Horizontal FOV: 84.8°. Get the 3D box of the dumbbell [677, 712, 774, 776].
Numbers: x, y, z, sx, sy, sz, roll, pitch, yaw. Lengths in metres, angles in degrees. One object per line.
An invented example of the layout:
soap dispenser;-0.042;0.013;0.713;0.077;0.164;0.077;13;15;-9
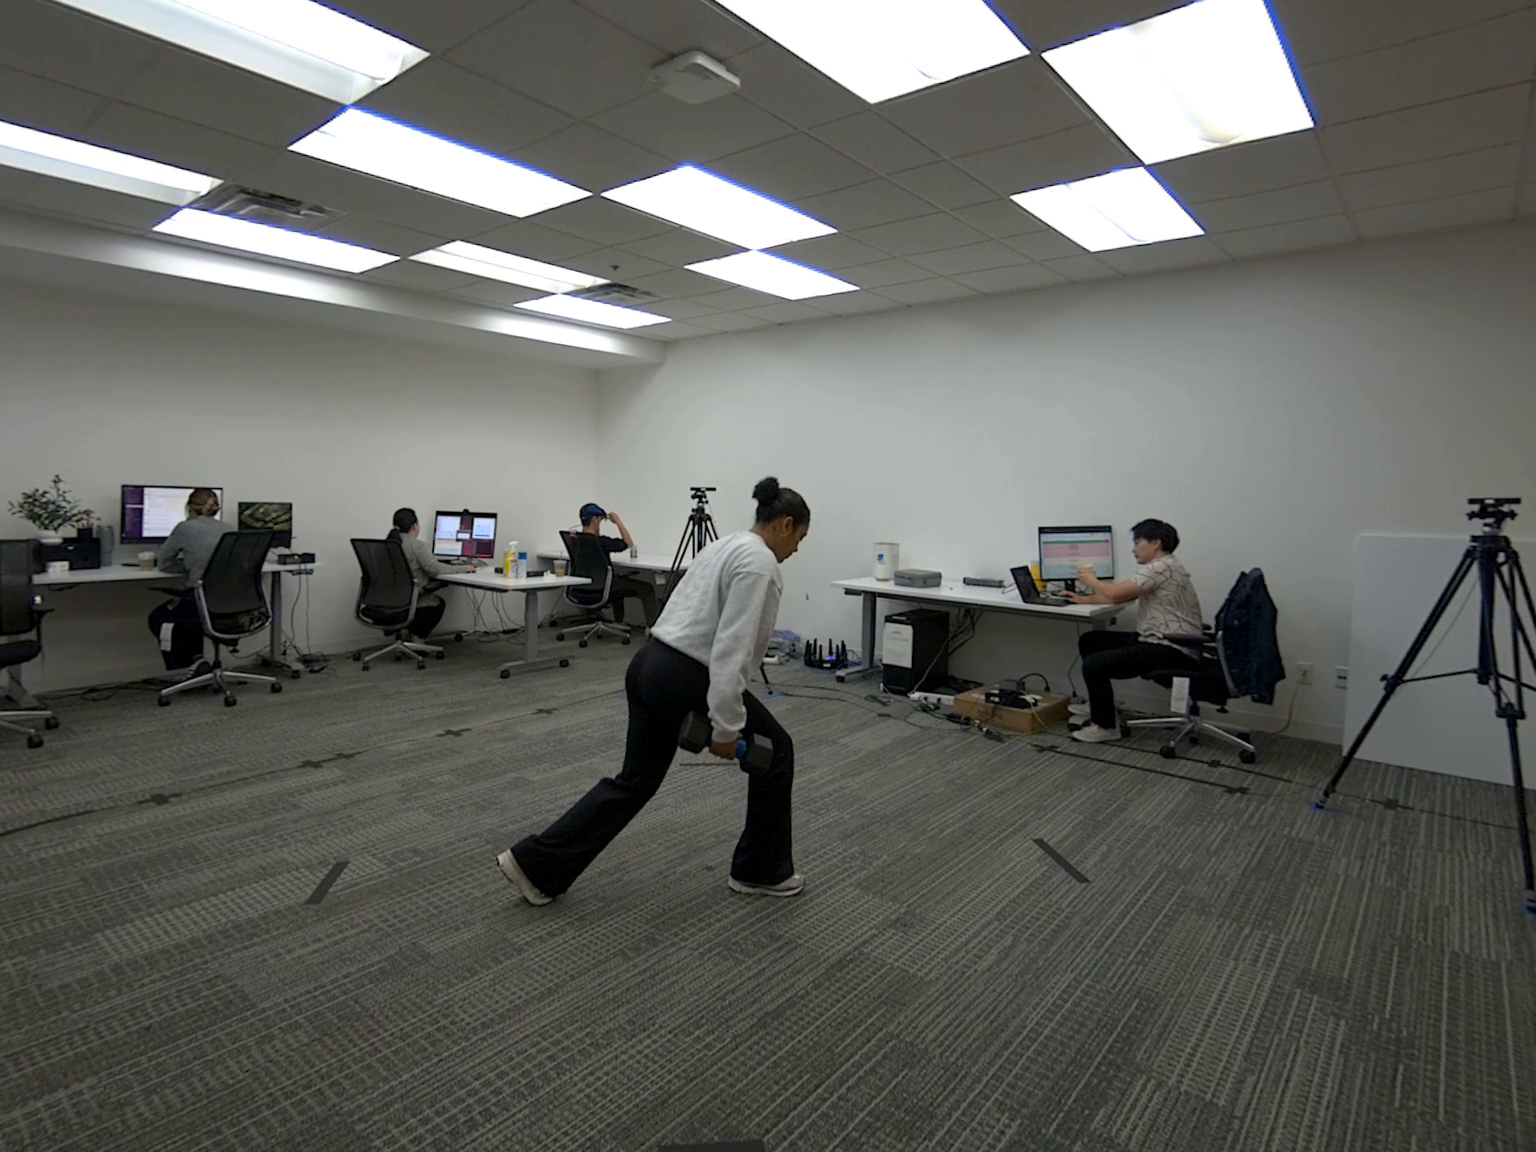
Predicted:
dumbbell;-0.141;0.529;2.676;0.290;0.124;0.109;20;-15;-8
